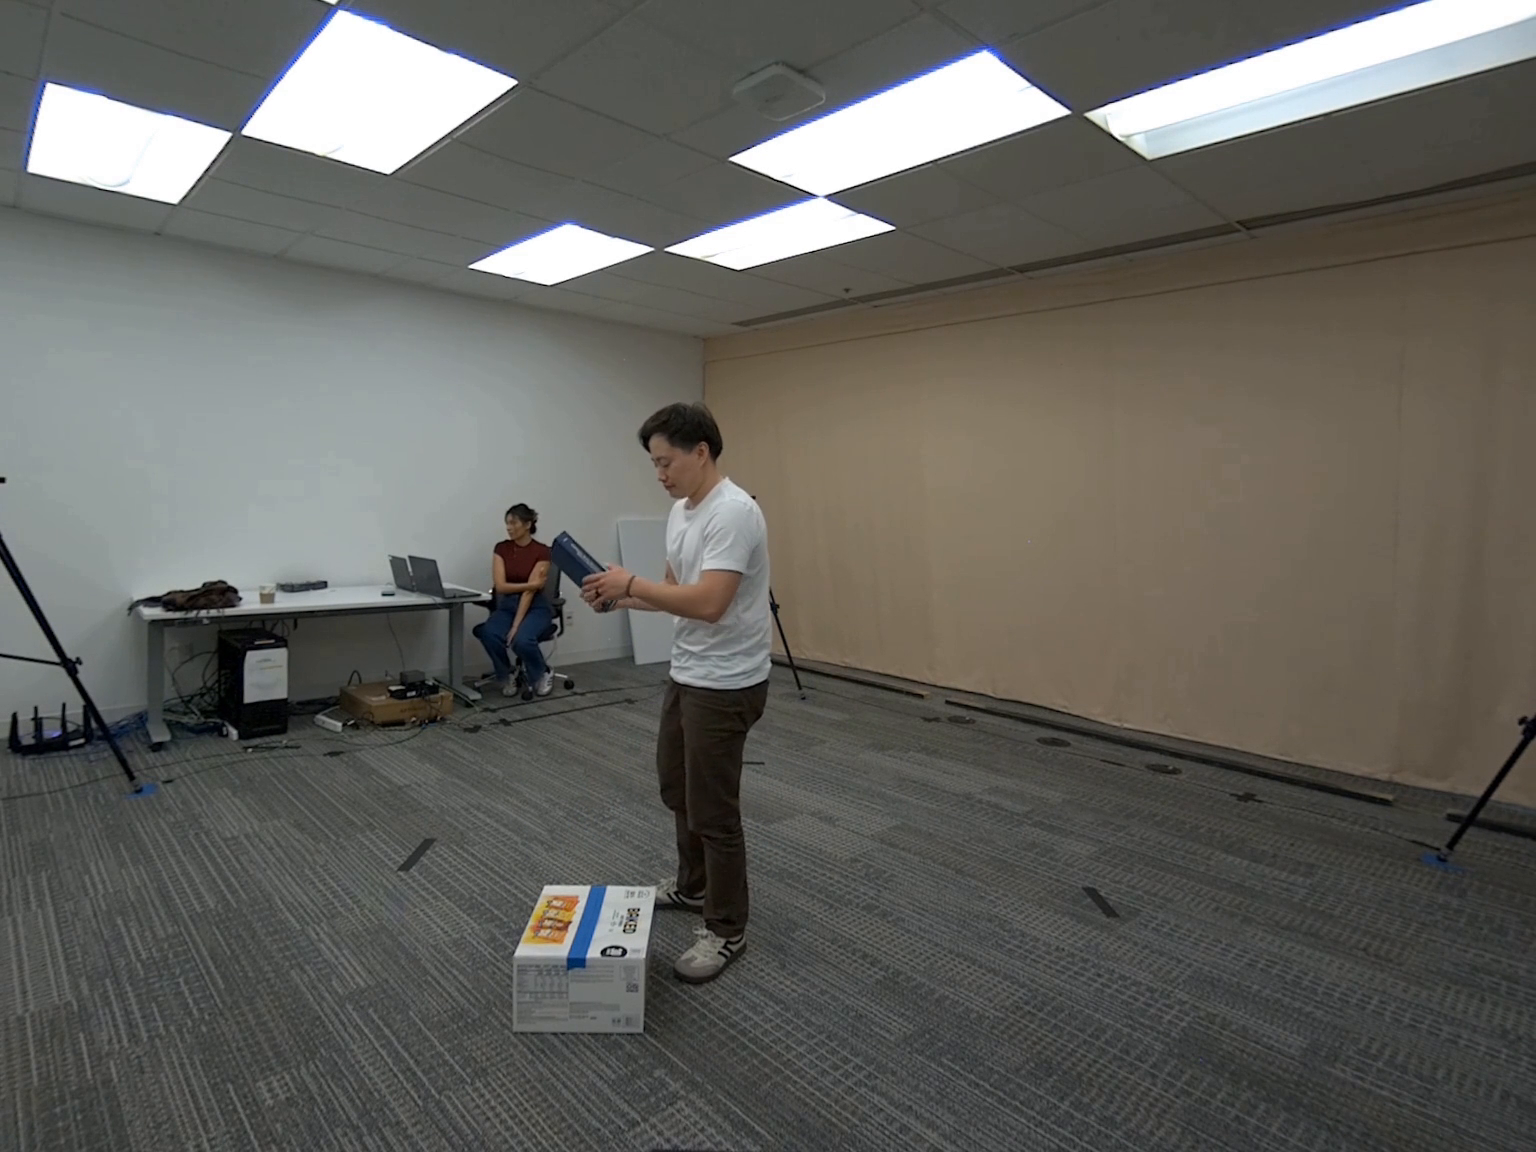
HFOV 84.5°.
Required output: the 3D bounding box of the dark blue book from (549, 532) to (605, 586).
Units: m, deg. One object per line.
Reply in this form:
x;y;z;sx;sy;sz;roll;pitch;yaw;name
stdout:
-0.545;-0.003;2.485;0.045;0.245;0.163;-47;-1;-27;dark blue book
